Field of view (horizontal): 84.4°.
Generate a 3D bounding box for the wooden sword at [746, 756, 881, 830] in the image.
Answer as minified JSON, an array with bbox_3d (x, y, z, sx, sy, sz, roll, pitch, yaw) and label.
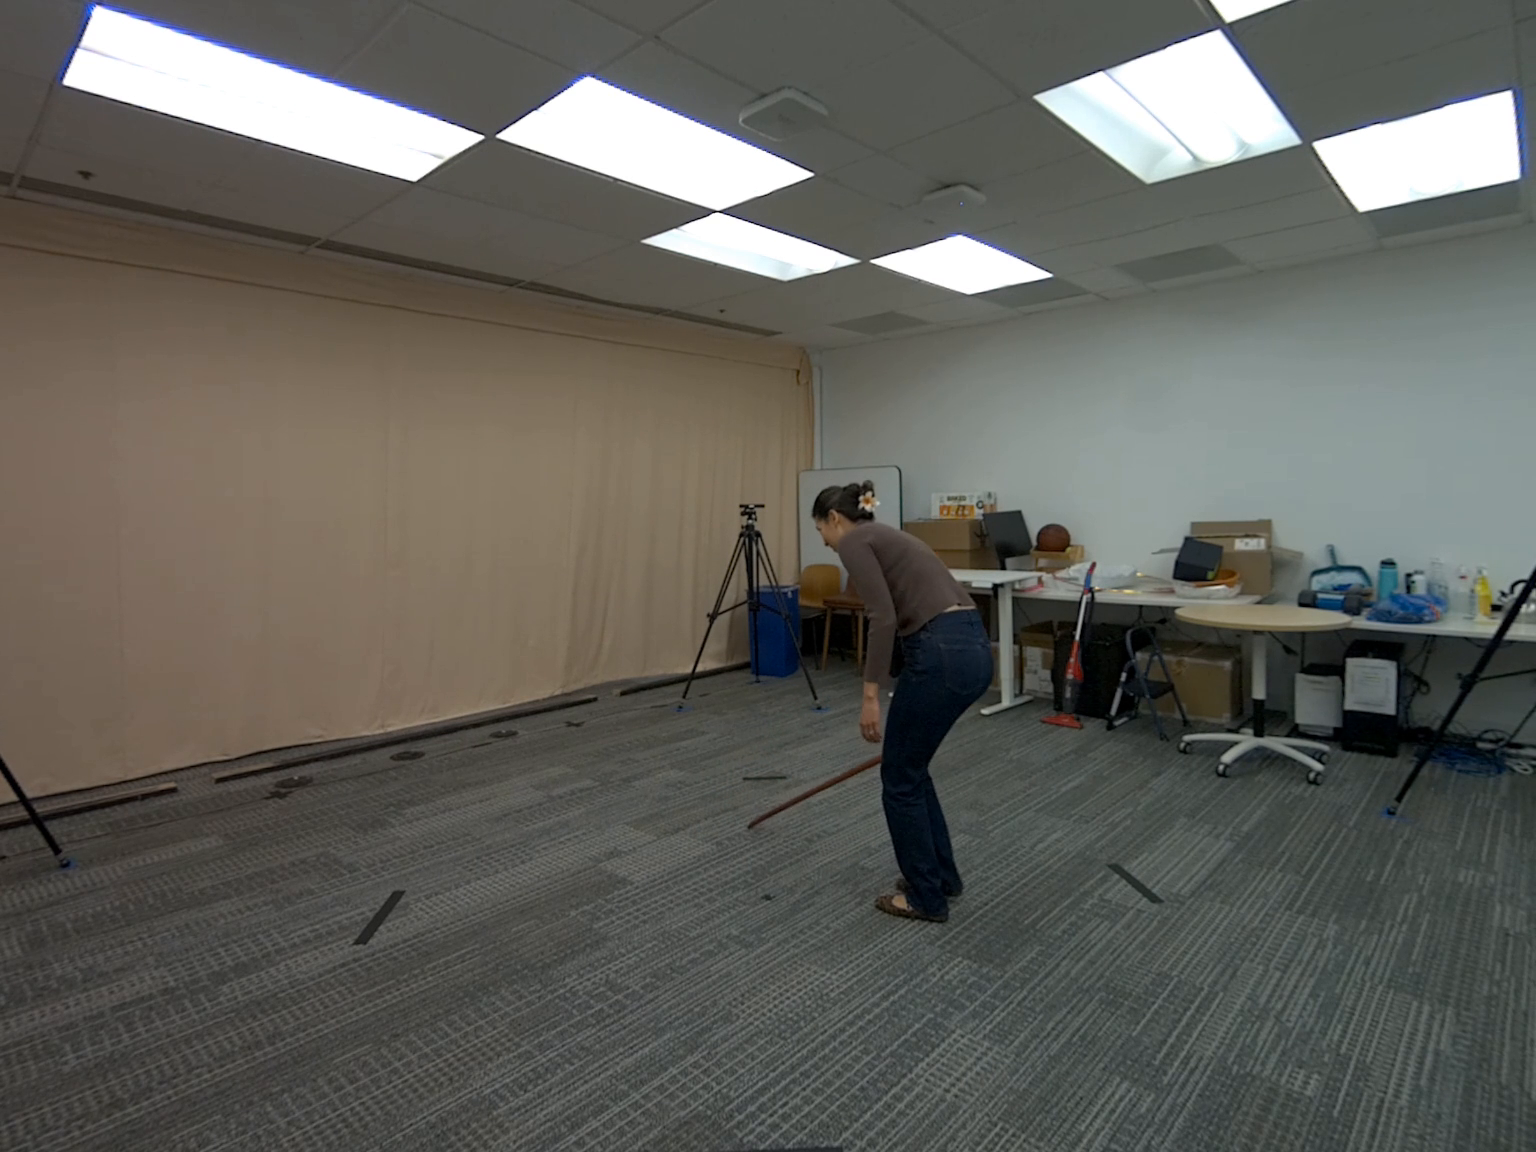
[{"bbox_3d":[0.270,0.821,3.369,0.049,0.024,1.038,21,-45,-42],"label":"wooden sword"}]
